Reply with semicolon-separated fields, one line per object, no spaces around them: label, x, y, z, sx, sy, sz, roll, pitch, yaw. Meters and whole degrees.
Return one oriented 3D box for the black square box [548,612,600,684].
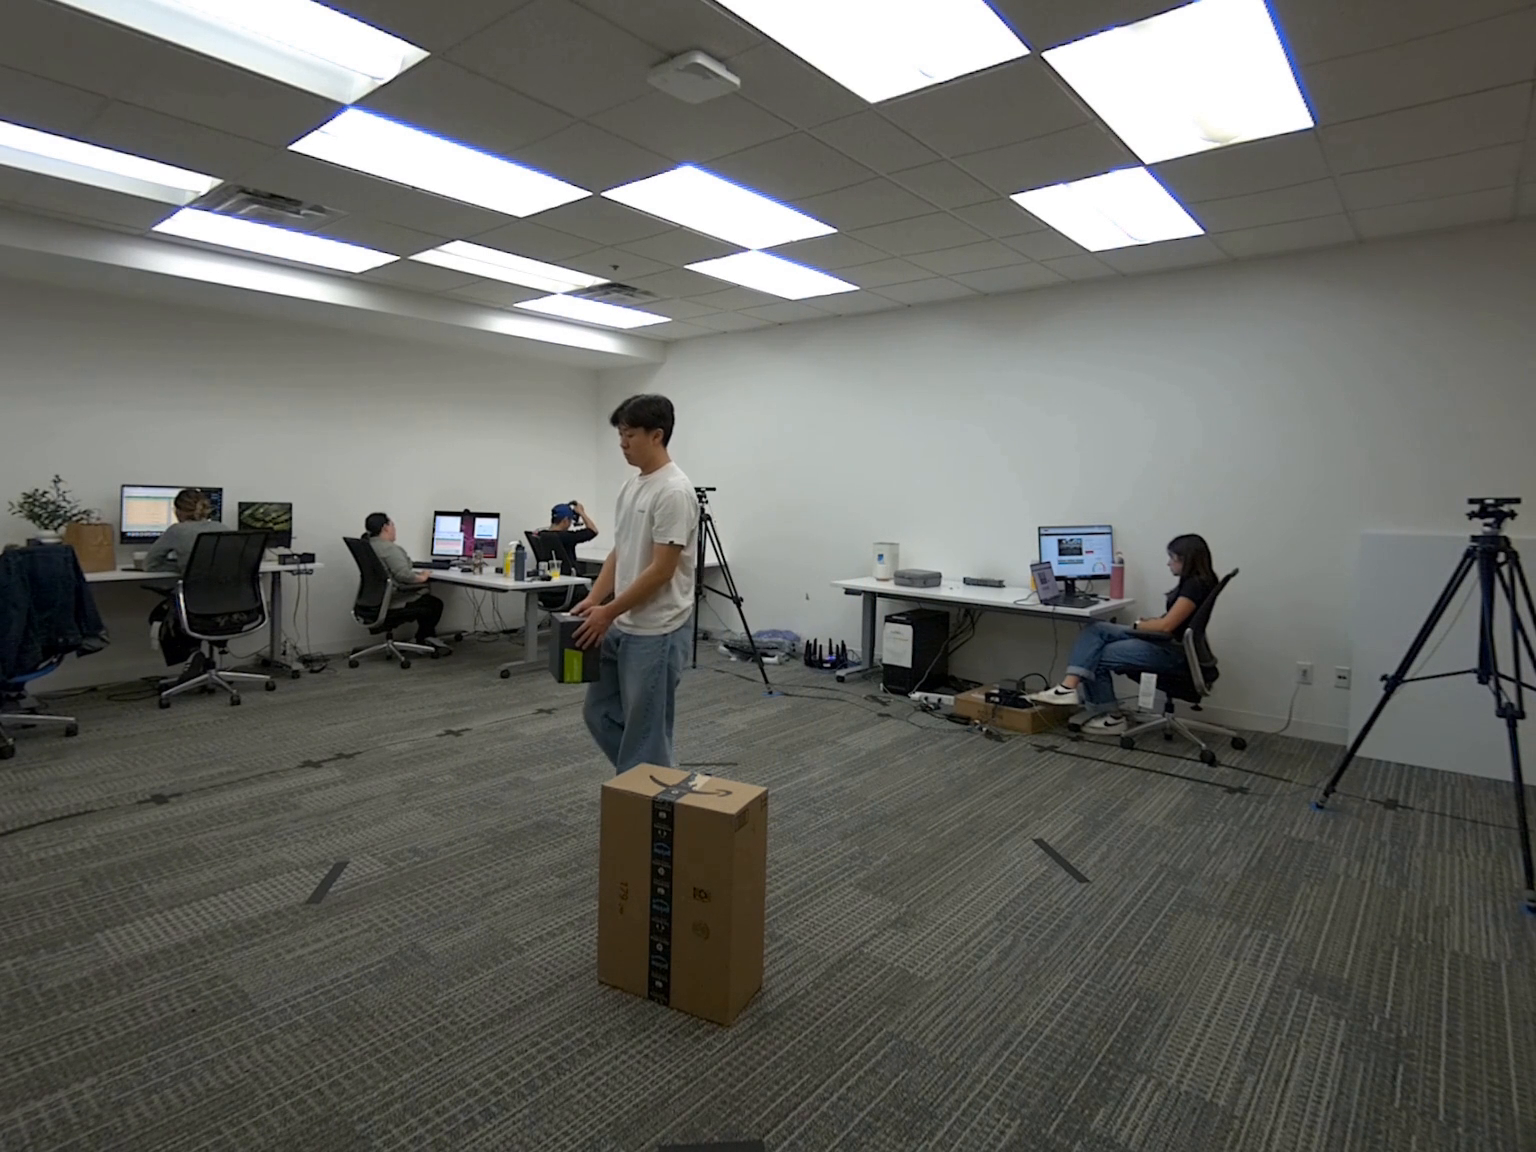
black square box;-0.743;0.267;3.220;0.152;0.227;0.222;-1;4;-24
